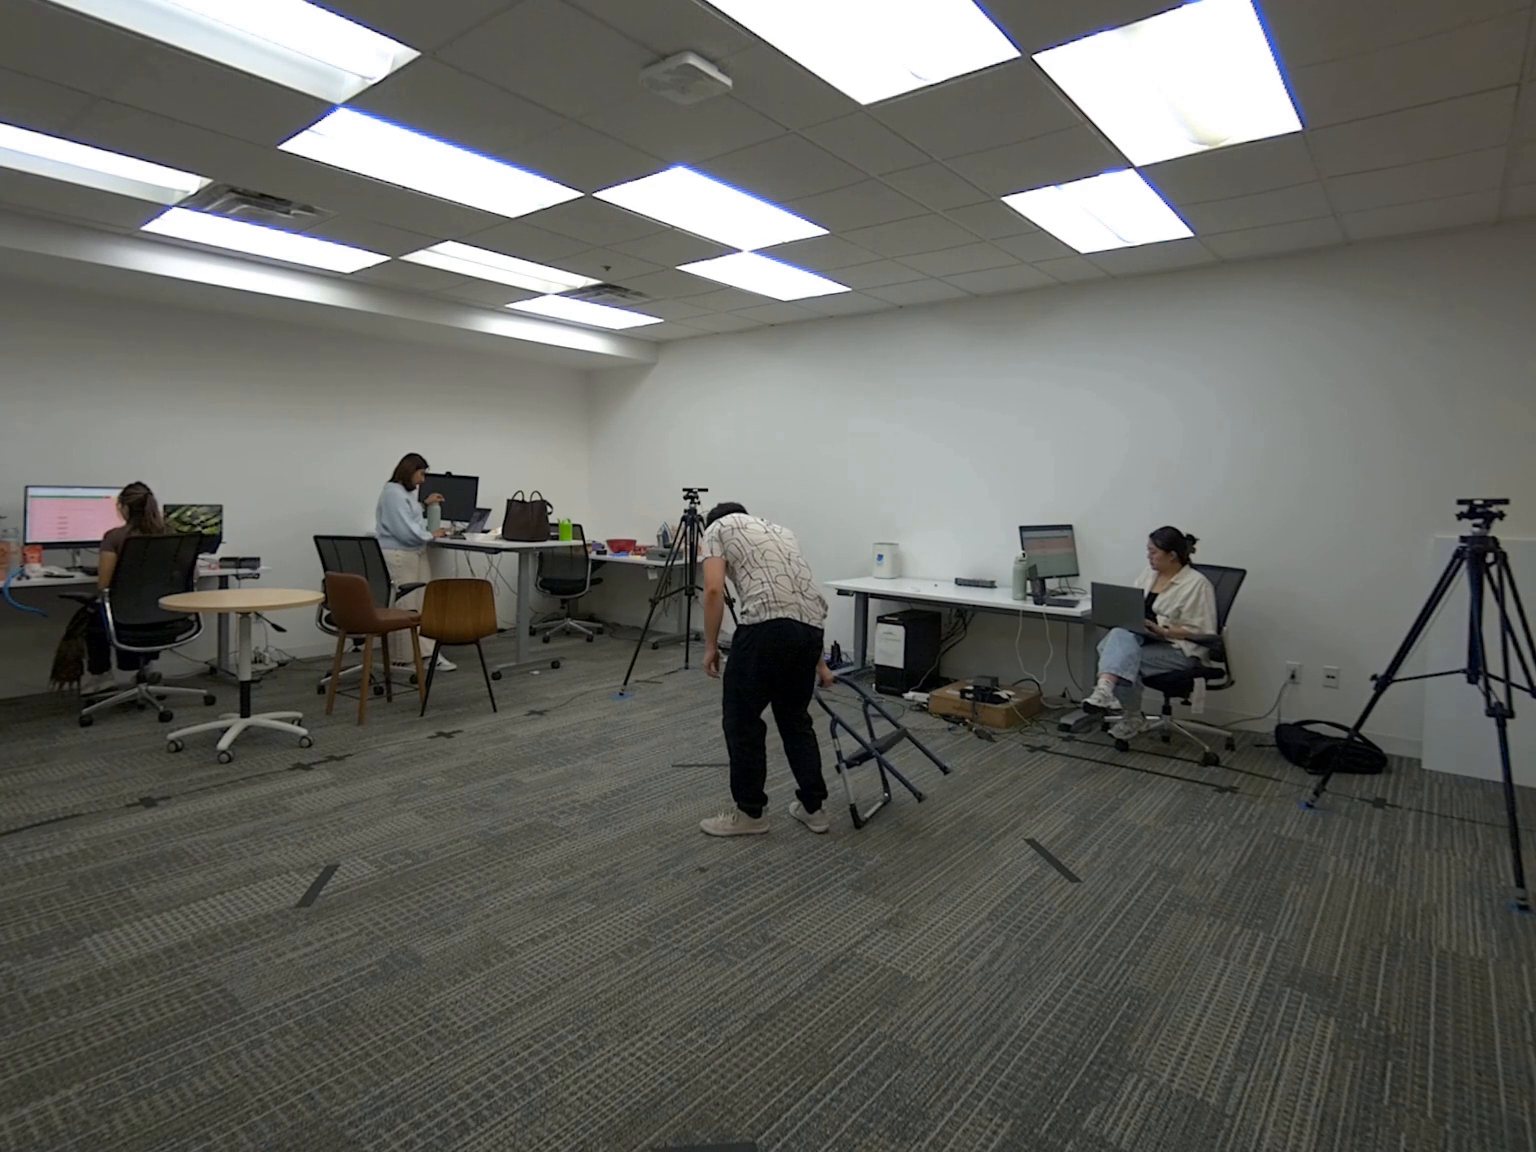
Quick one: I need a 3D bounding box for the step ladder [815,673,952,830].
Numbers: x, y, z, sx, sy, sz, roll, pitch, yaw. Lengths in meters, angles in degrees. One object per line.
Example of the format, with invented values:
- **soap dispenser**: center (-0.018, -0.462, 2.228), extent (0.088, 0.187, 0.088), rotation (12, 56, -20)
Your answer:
- **step ladder**: center (0.438, 0.689, 3.693), extent (0.352, 0.617, 0.420), rotation (-34, -14, 25)
